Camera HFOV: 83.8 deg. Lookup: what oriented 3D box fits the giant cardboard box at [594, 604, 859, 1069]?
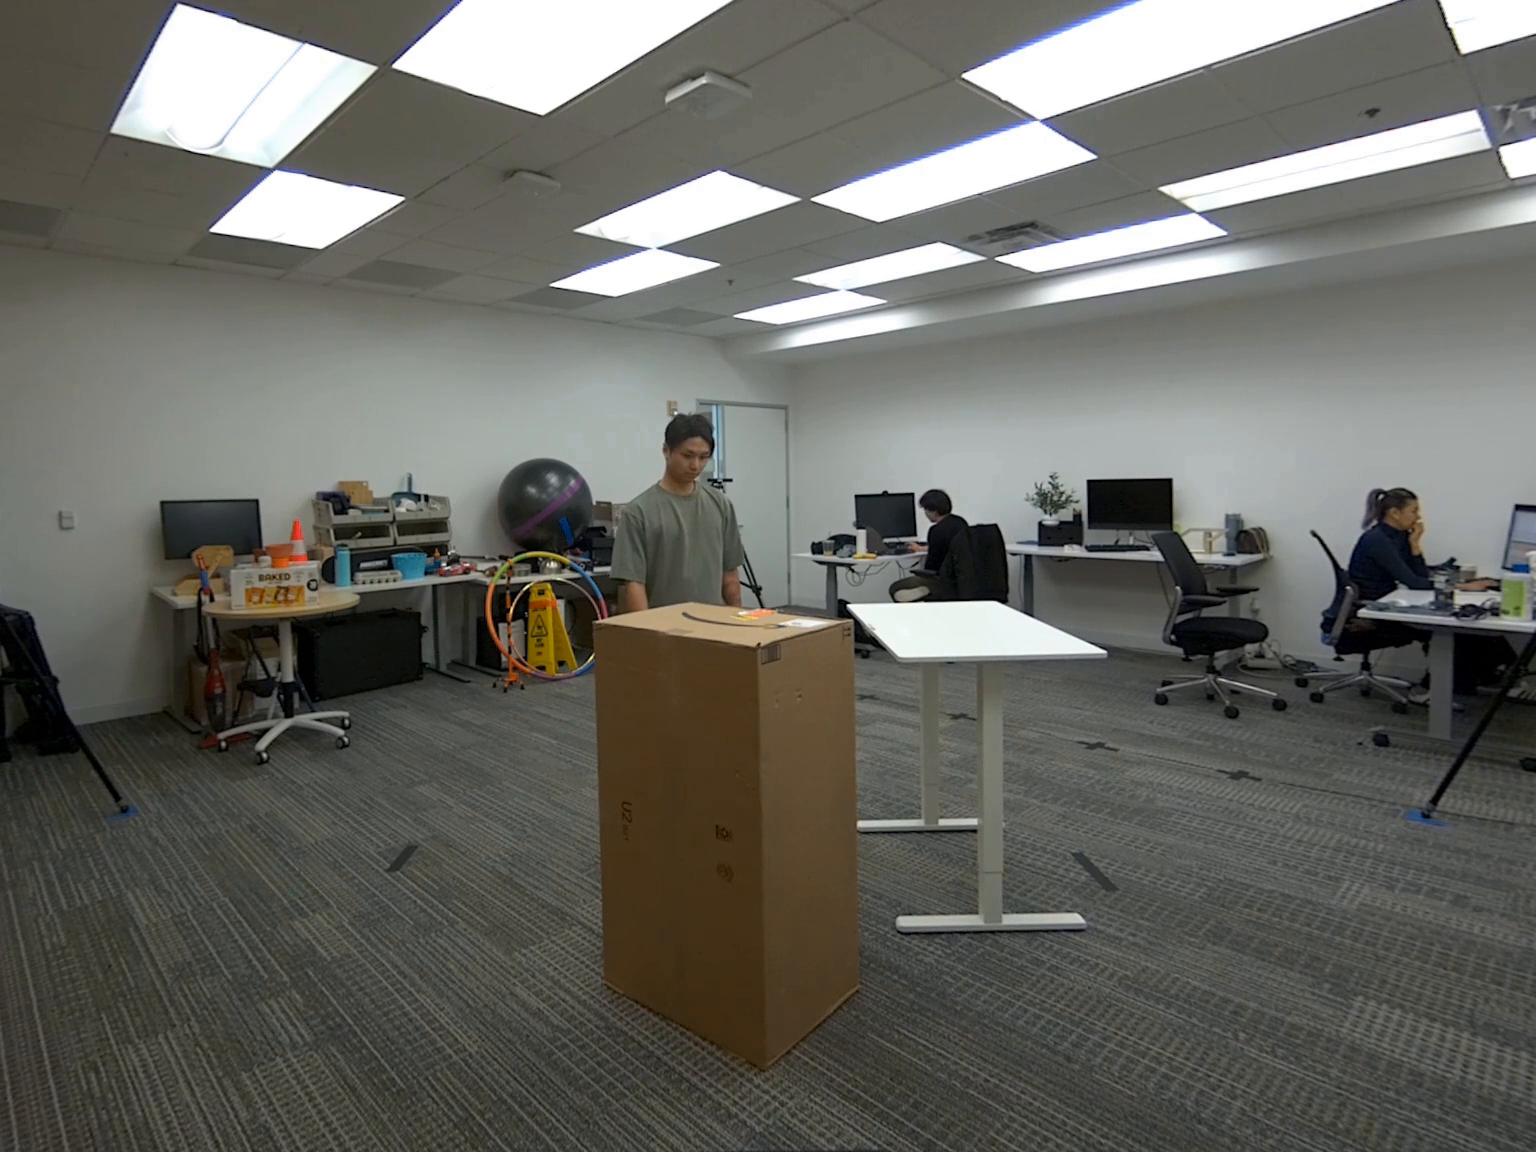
[{"bbox_3d":[-0.110,0.629,2.329,0.595,1.022,0.415,2,5,39],"label":"giant cardboard box"}]
